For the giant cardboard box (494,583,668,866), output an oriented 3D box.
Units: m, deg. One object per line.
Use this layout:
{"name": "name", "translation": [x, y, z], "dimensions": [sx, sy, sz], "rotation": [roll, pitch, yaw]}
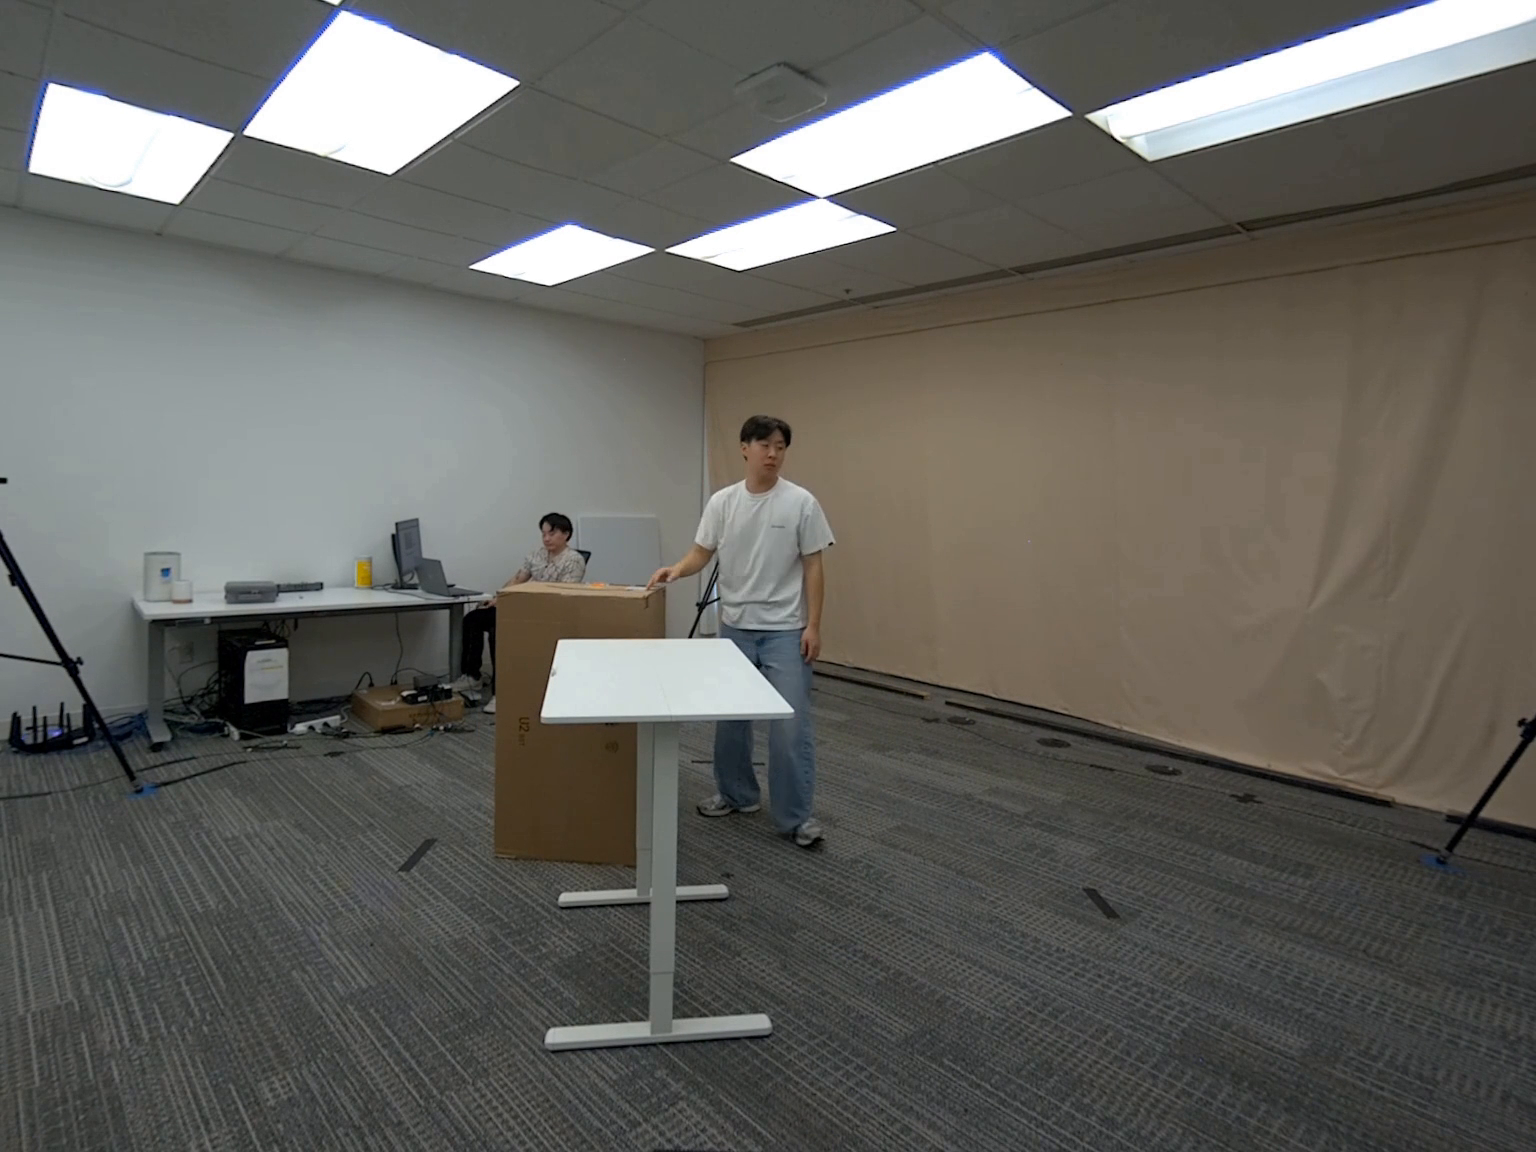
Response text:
{"name": "giant cardboard box", "translation": [-0.749, 0.561, 3.369], "dimensions": [0.580, 1.024, 0.425], "rotation": [2, 3, 5]}
